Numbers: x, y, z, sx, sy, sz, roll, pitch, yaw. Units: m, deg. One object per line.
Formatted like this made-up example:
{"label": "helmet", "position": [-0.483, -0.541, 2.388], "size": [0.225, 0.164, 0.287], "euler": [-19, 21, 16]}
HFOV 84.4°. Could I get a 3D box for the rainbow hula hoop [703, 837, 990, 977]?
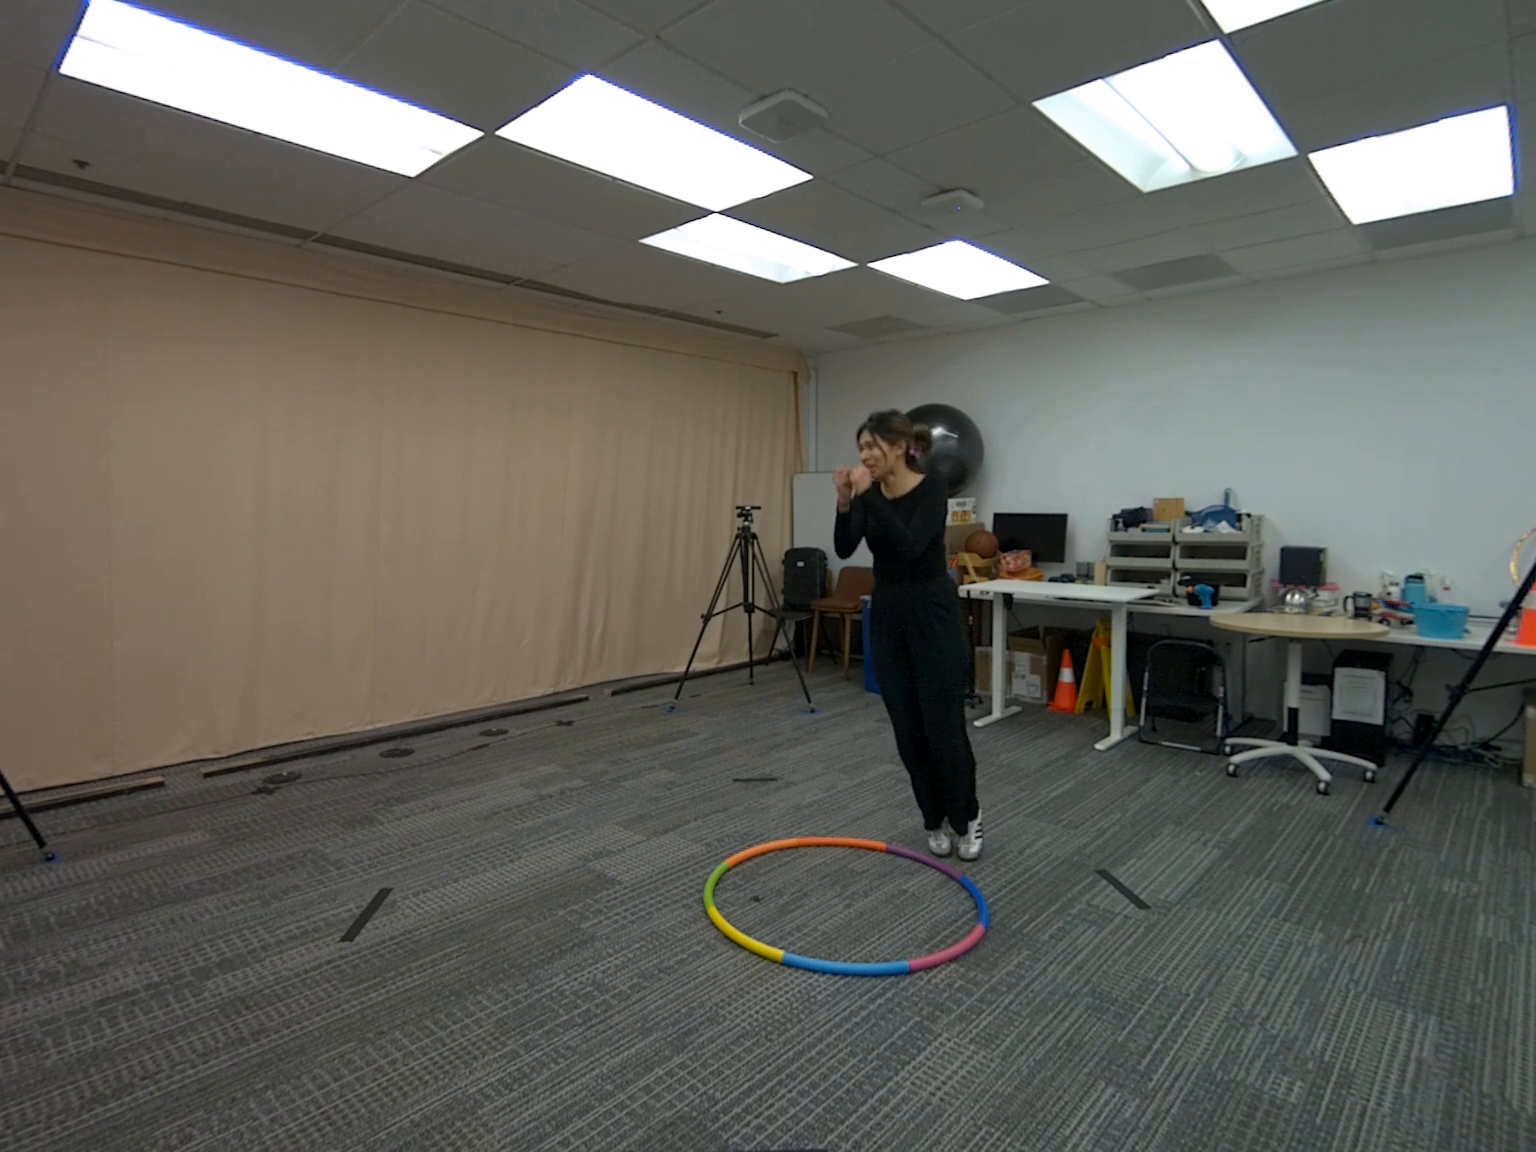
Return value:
{"label": "rainbow hula hoop", "position": [0.264, 1.118, 2.971], "size": [0.978, 0.035, 0.982], "euler": [0, 5, -2]}
